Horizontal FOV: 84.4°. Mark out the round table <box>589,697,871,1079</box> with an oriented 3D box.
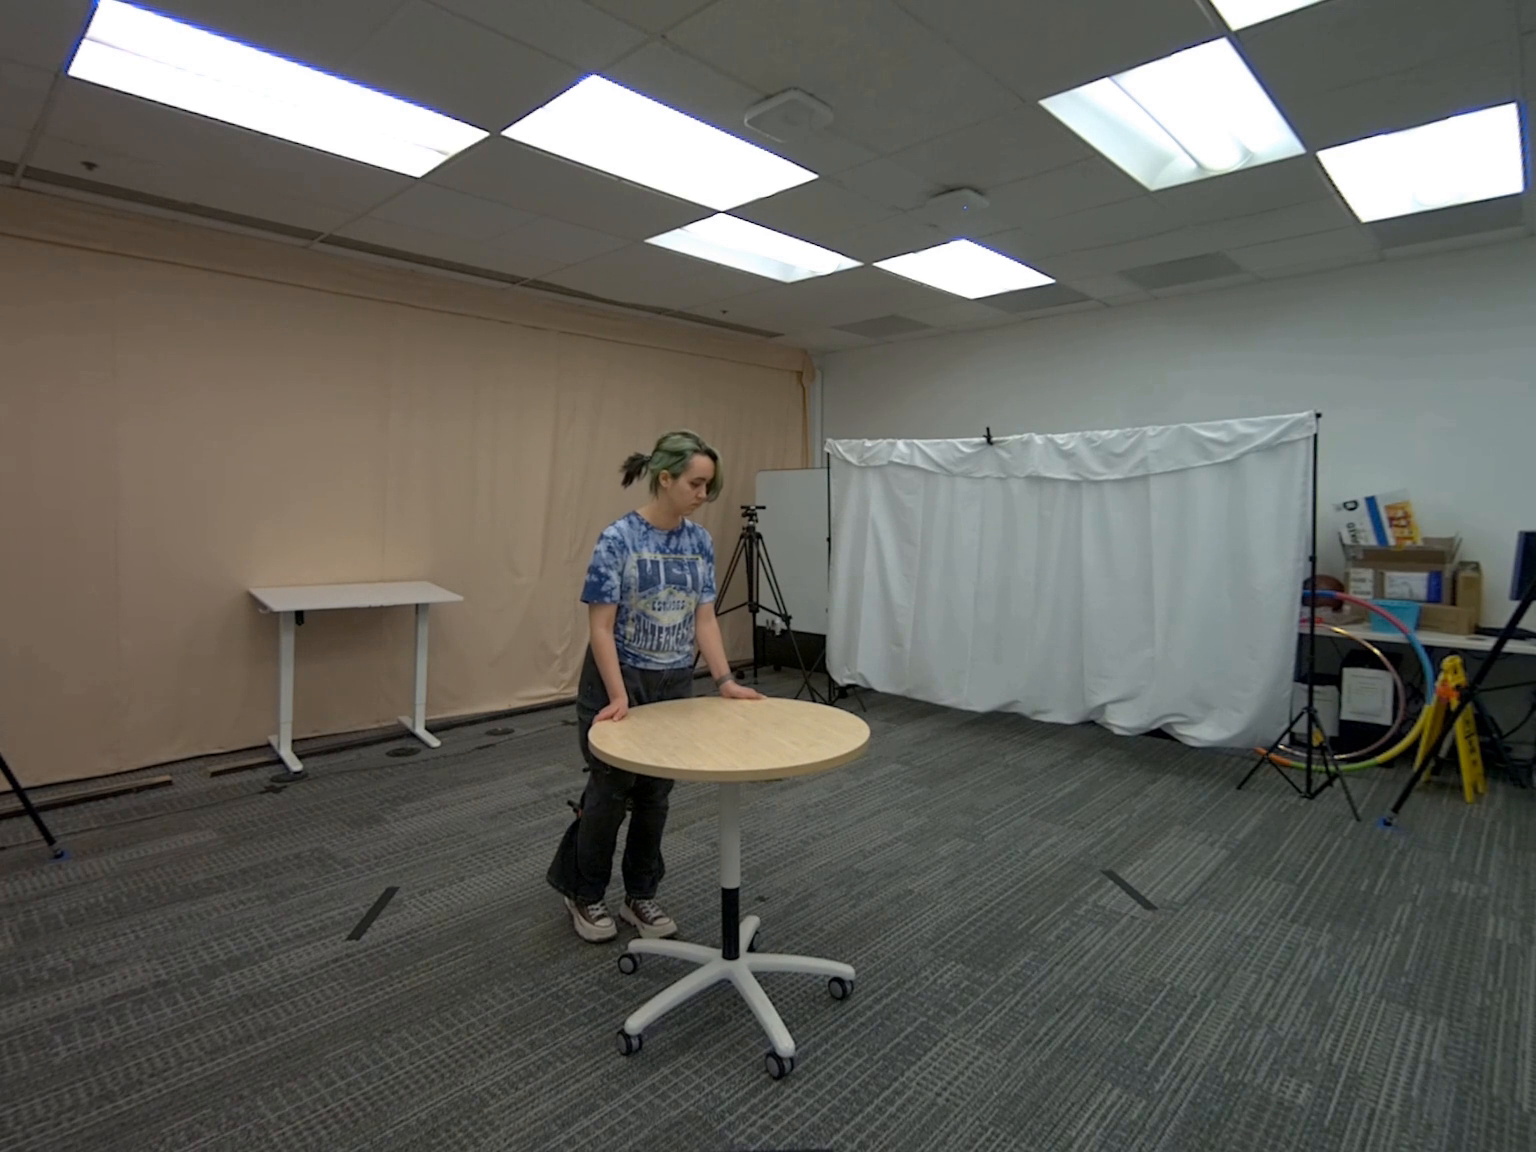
[{"bbox_3d":[-0.105,0.812,2.326,0.763,0.792,0.767,-1,4,-2],"label":"round table"}]
